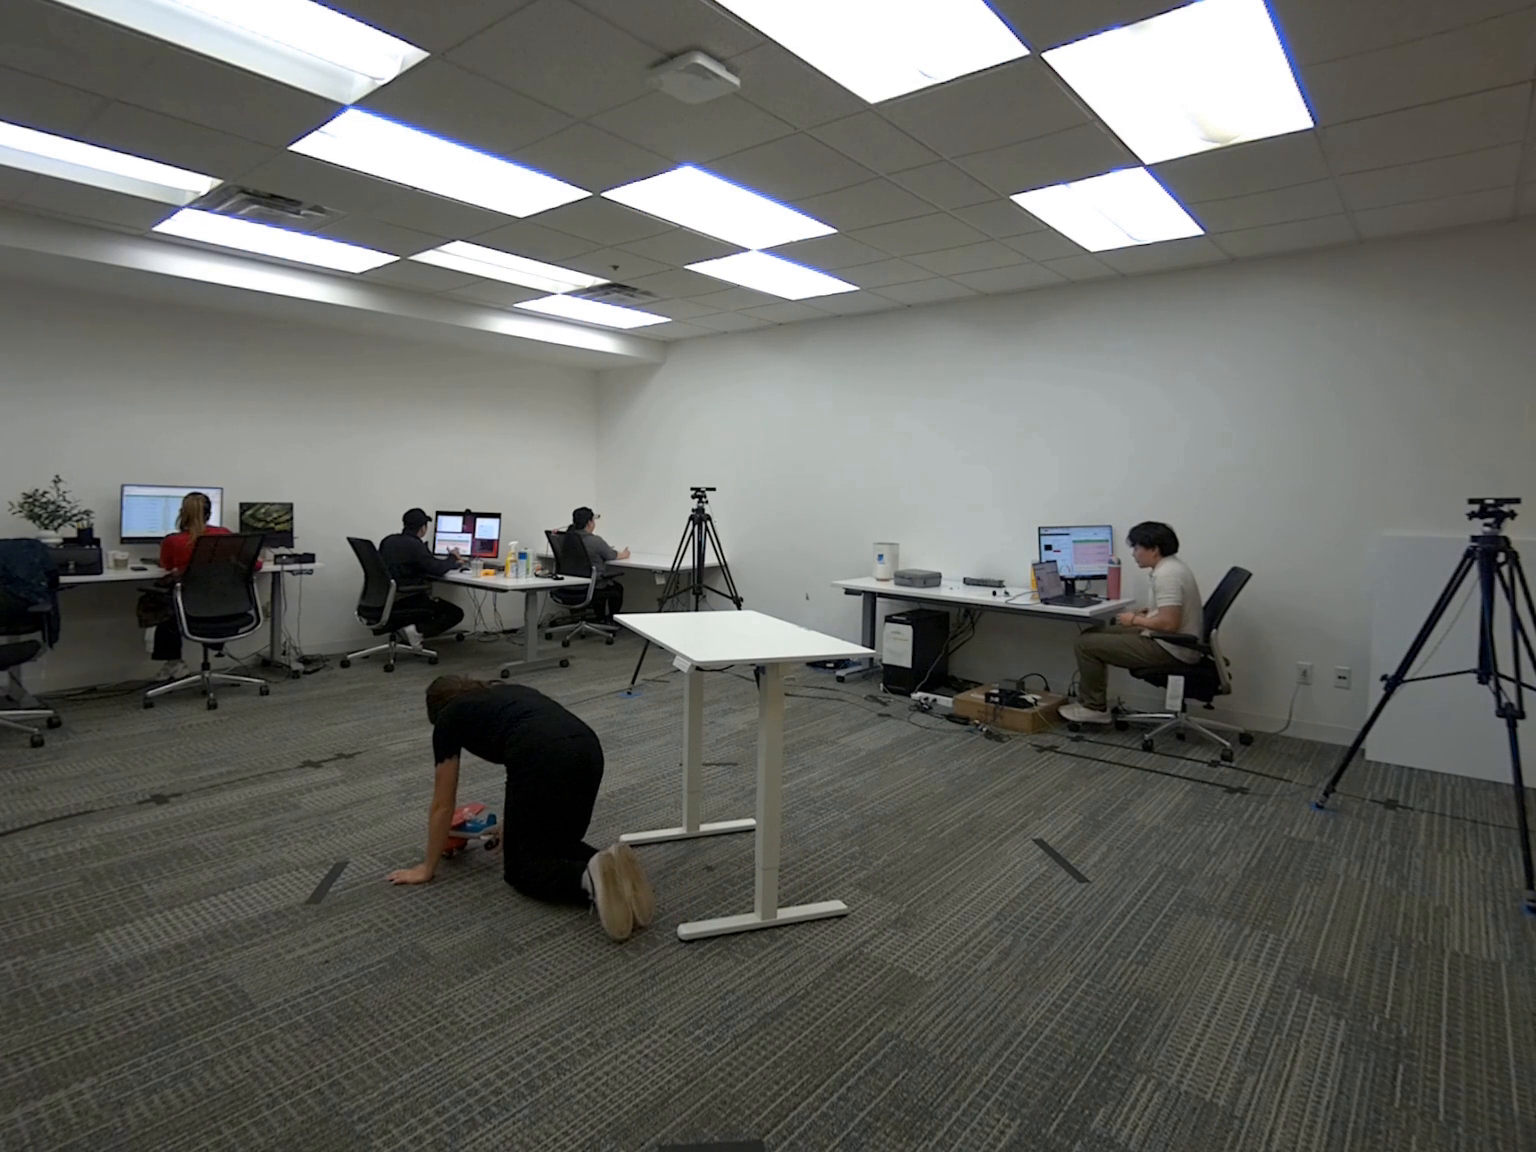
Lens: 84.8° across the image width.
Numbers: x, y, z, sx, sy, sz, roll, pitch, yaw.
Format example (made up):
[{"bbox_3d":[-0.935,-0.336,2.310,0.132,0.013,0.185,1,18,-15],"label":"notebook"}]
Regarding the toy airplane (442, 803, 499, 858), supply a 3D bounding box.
[{"bbox_3d":[-1.127,0.951,3.185,0.257,0.156,0.253,-14,1,-10],"label":"toy airplane"}]
